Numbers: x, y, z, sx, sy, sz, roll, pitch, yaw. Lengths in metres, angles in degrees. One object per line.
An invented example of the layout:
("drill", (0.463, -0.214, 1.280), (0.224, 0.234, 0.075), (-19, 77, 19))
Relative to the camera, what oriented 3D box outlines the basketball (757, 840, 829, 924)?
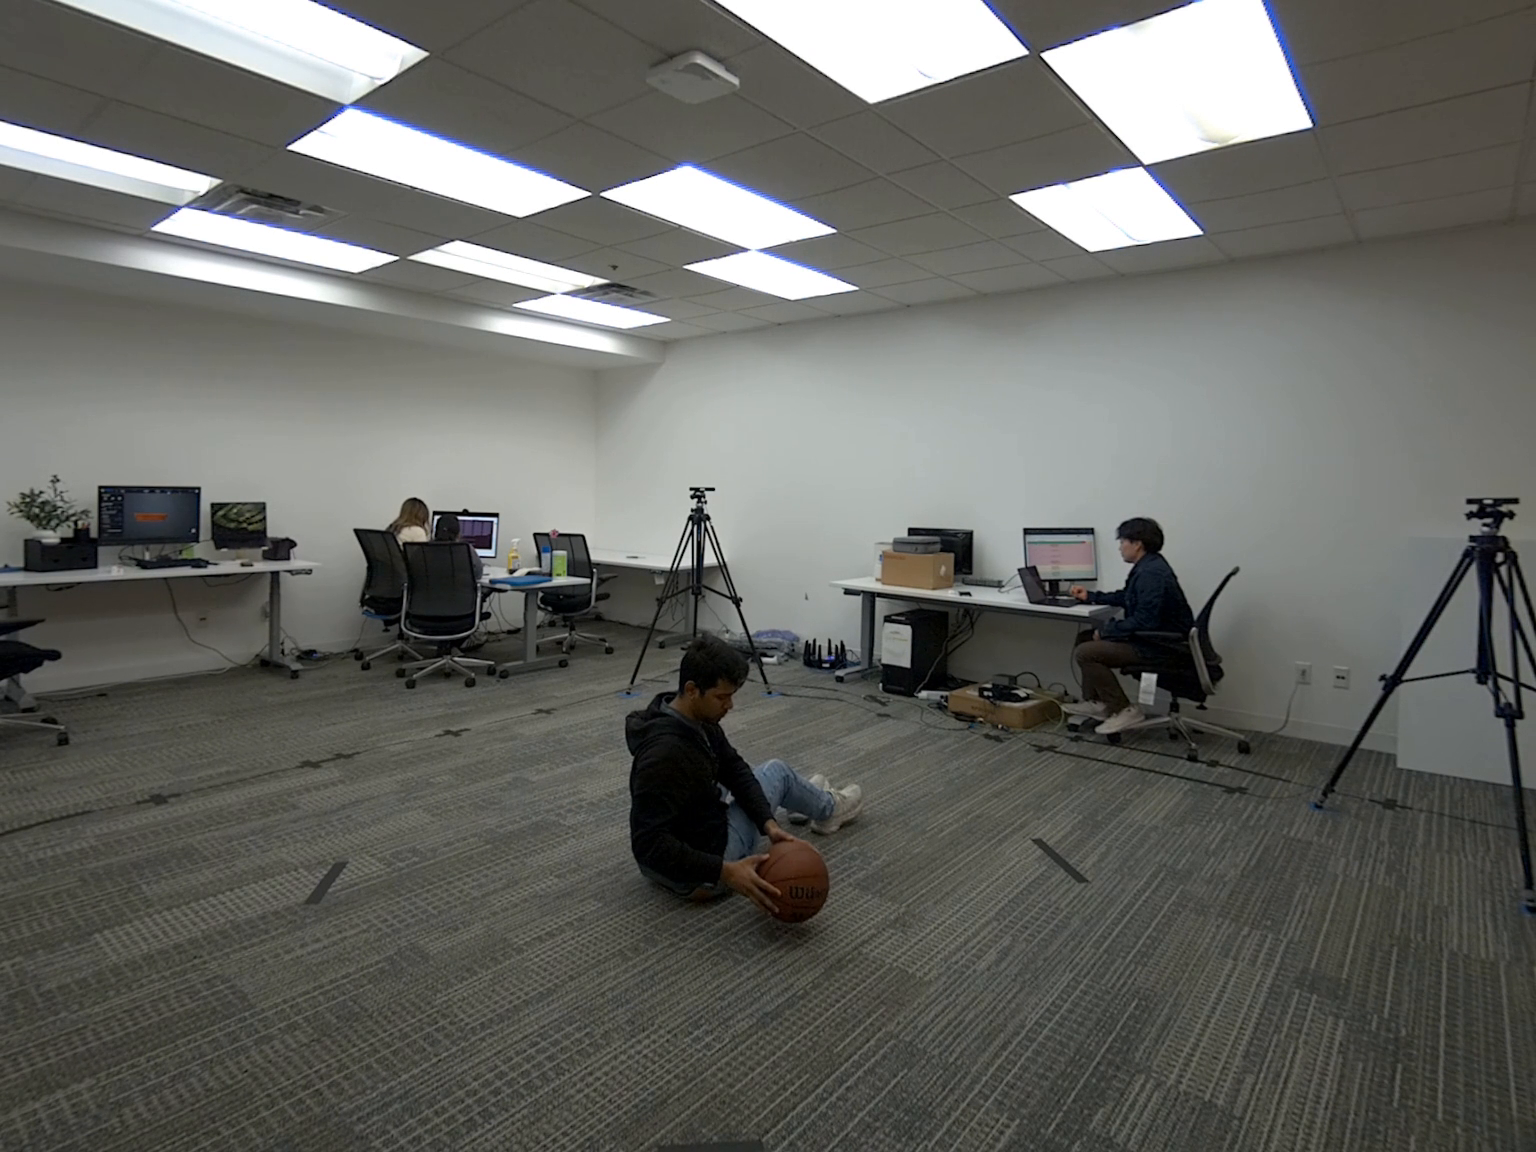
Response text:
("basketball", (0.070, 0.958, 2.691), (0.235, 0.235, 0.237), (1, 4, -2))
